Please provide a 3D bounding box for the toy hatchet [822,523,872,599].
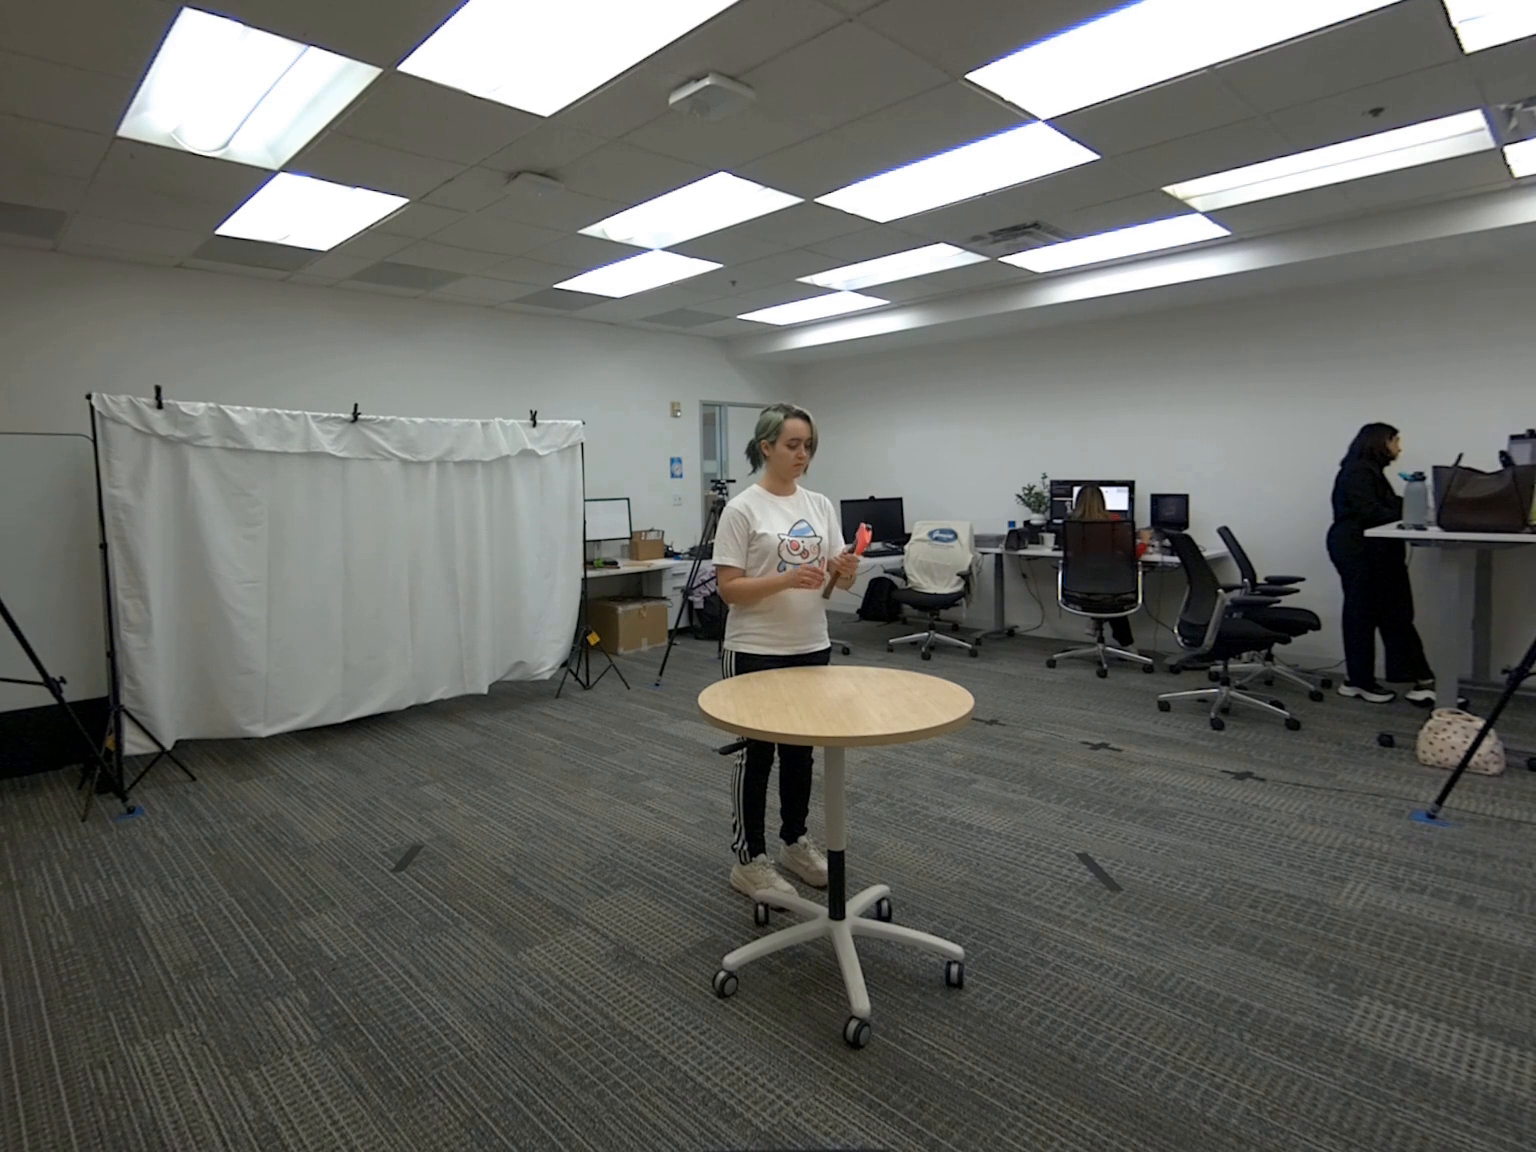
[{"bbox_3d":[0.246,-0.037,2.617,0.029,0.269,0.134,22,8,-18],"label":"toy hatchet"}]
